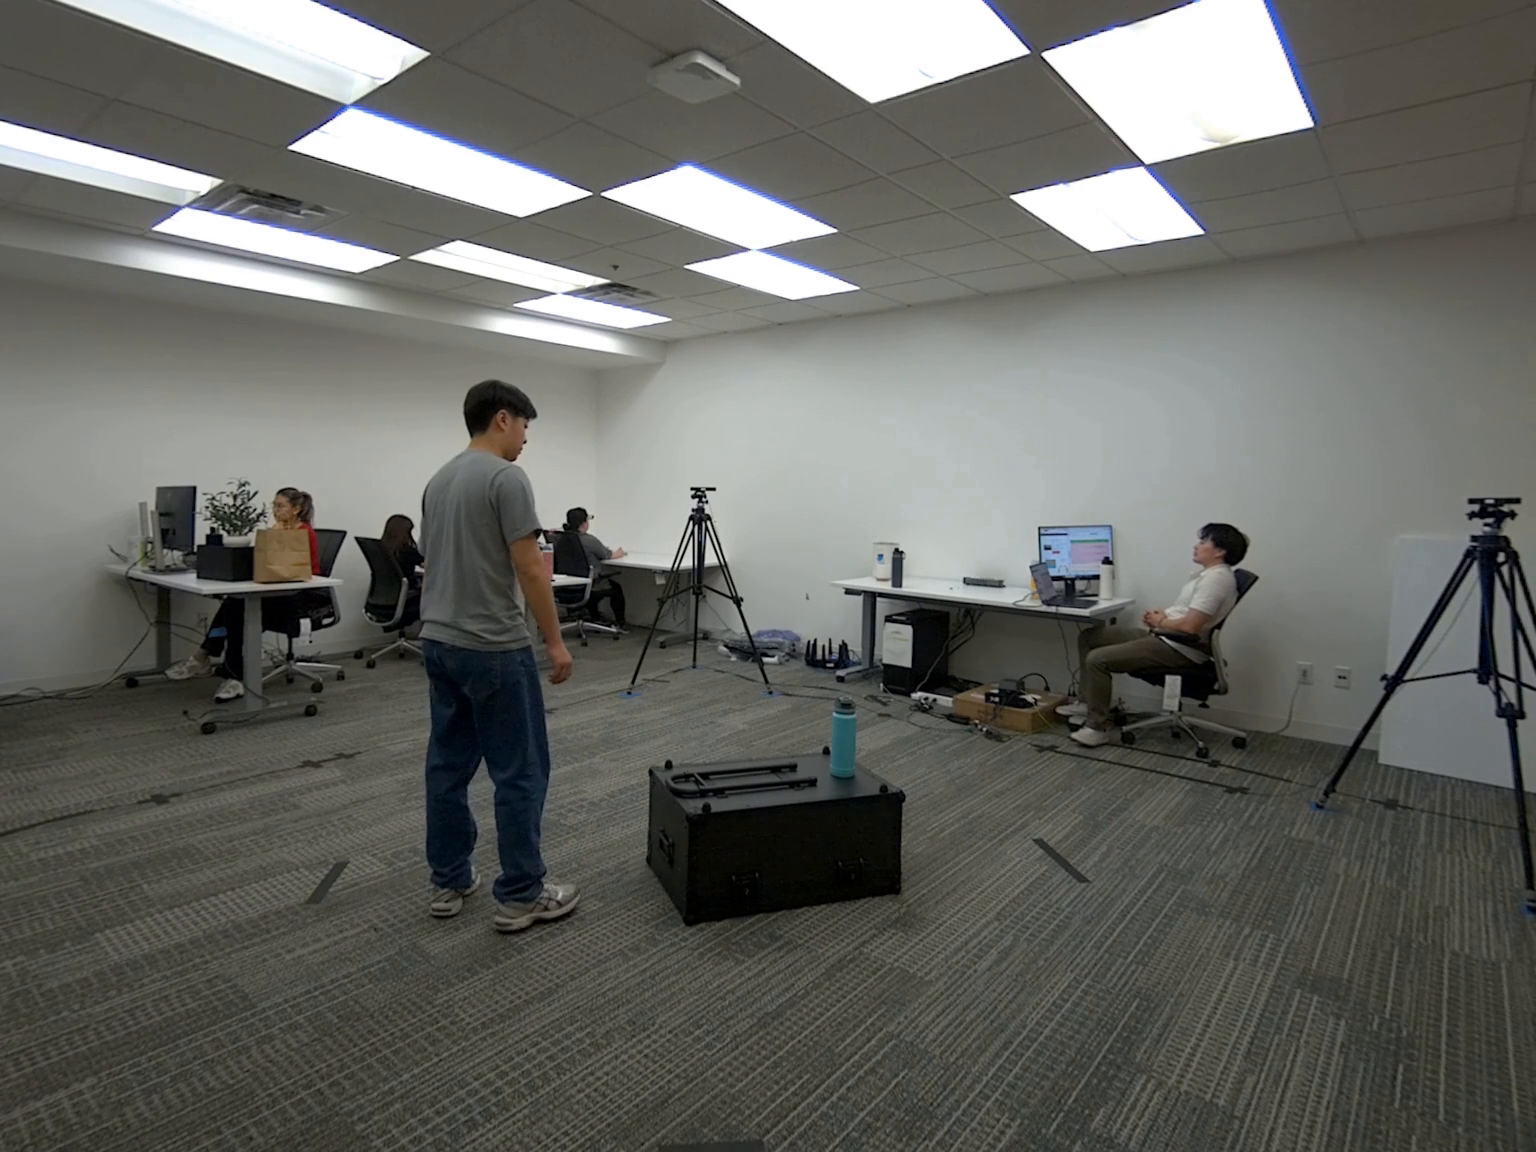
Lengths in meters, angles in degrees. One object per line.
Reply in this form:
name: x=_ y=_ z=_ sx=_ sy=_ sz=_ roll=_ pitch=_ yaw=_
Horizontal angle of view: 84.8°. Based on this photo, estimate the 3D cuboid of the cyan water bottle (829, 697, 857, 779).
cyan water bottle: x=0.271 y=0.579 z=3.102 sx=0.092 sy=0.283 sz=0.092 roll=2 pitch=1 yaw=-2
